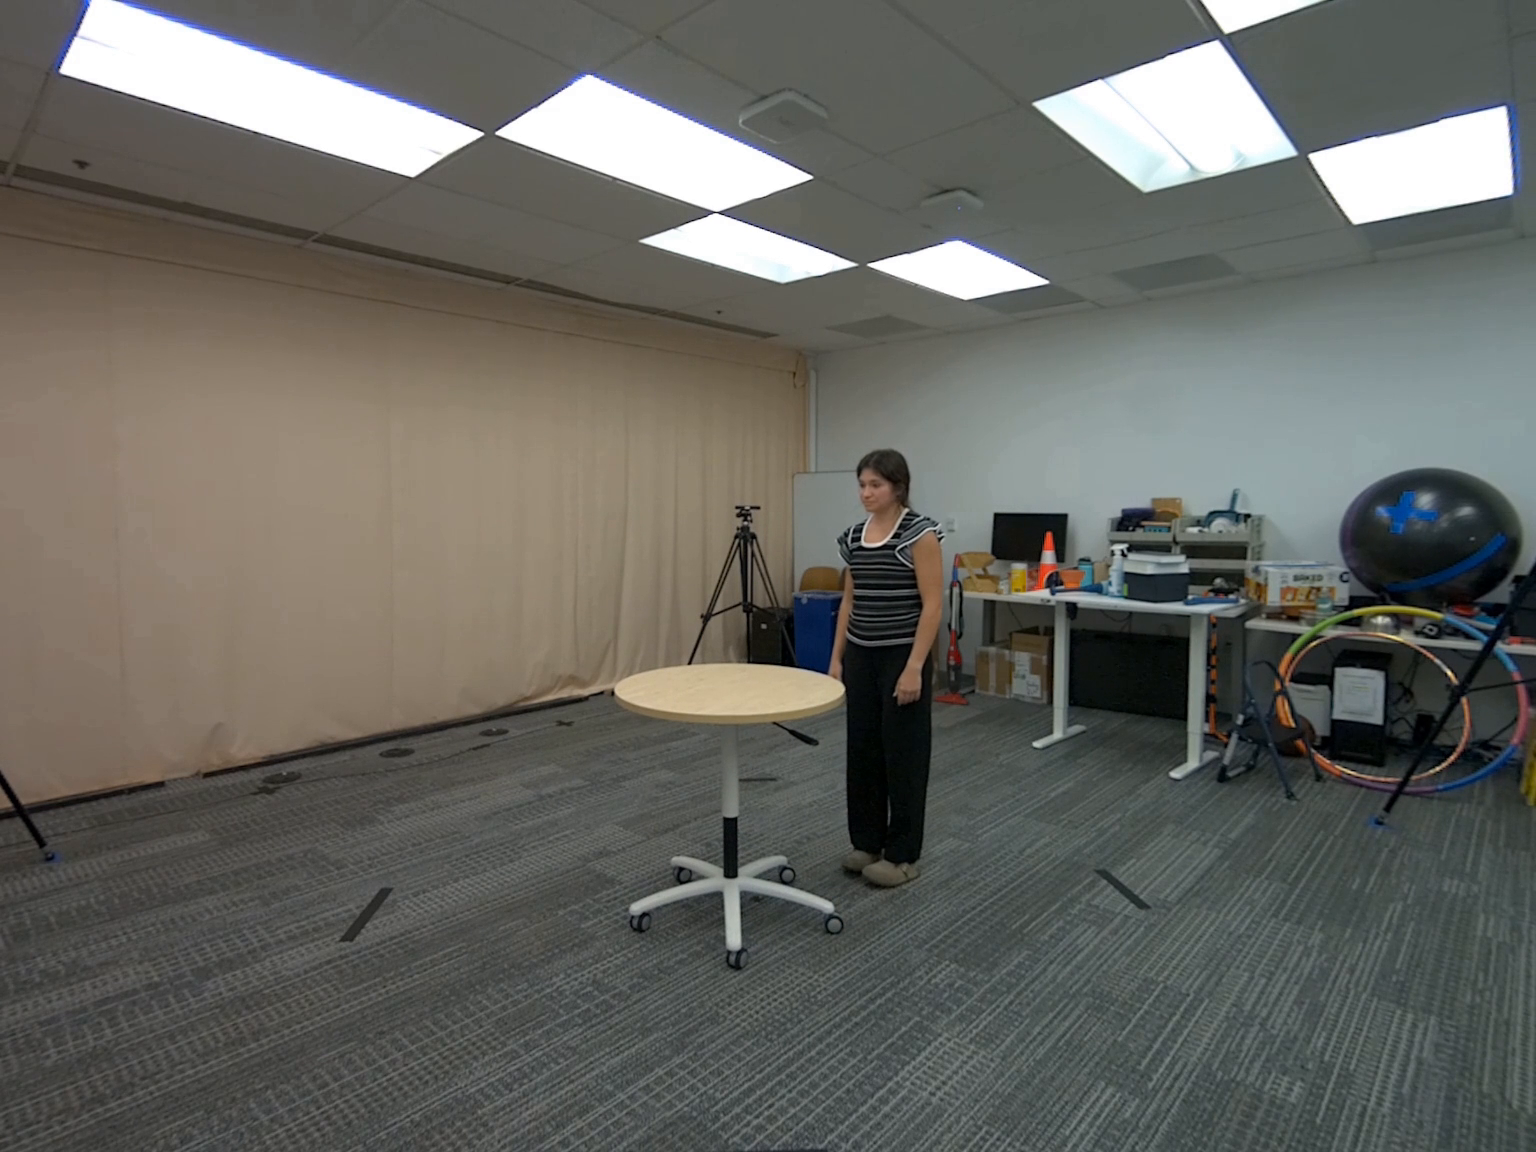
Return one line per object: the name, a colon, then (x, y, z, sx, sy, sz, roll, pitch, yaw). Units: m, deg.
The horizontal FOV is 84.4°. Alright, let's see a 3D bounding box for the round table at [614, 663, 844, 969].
round table: (-0.124, 0.764, 2.838, 0.763, 0.792, 0.767, 0, 4, -2)
